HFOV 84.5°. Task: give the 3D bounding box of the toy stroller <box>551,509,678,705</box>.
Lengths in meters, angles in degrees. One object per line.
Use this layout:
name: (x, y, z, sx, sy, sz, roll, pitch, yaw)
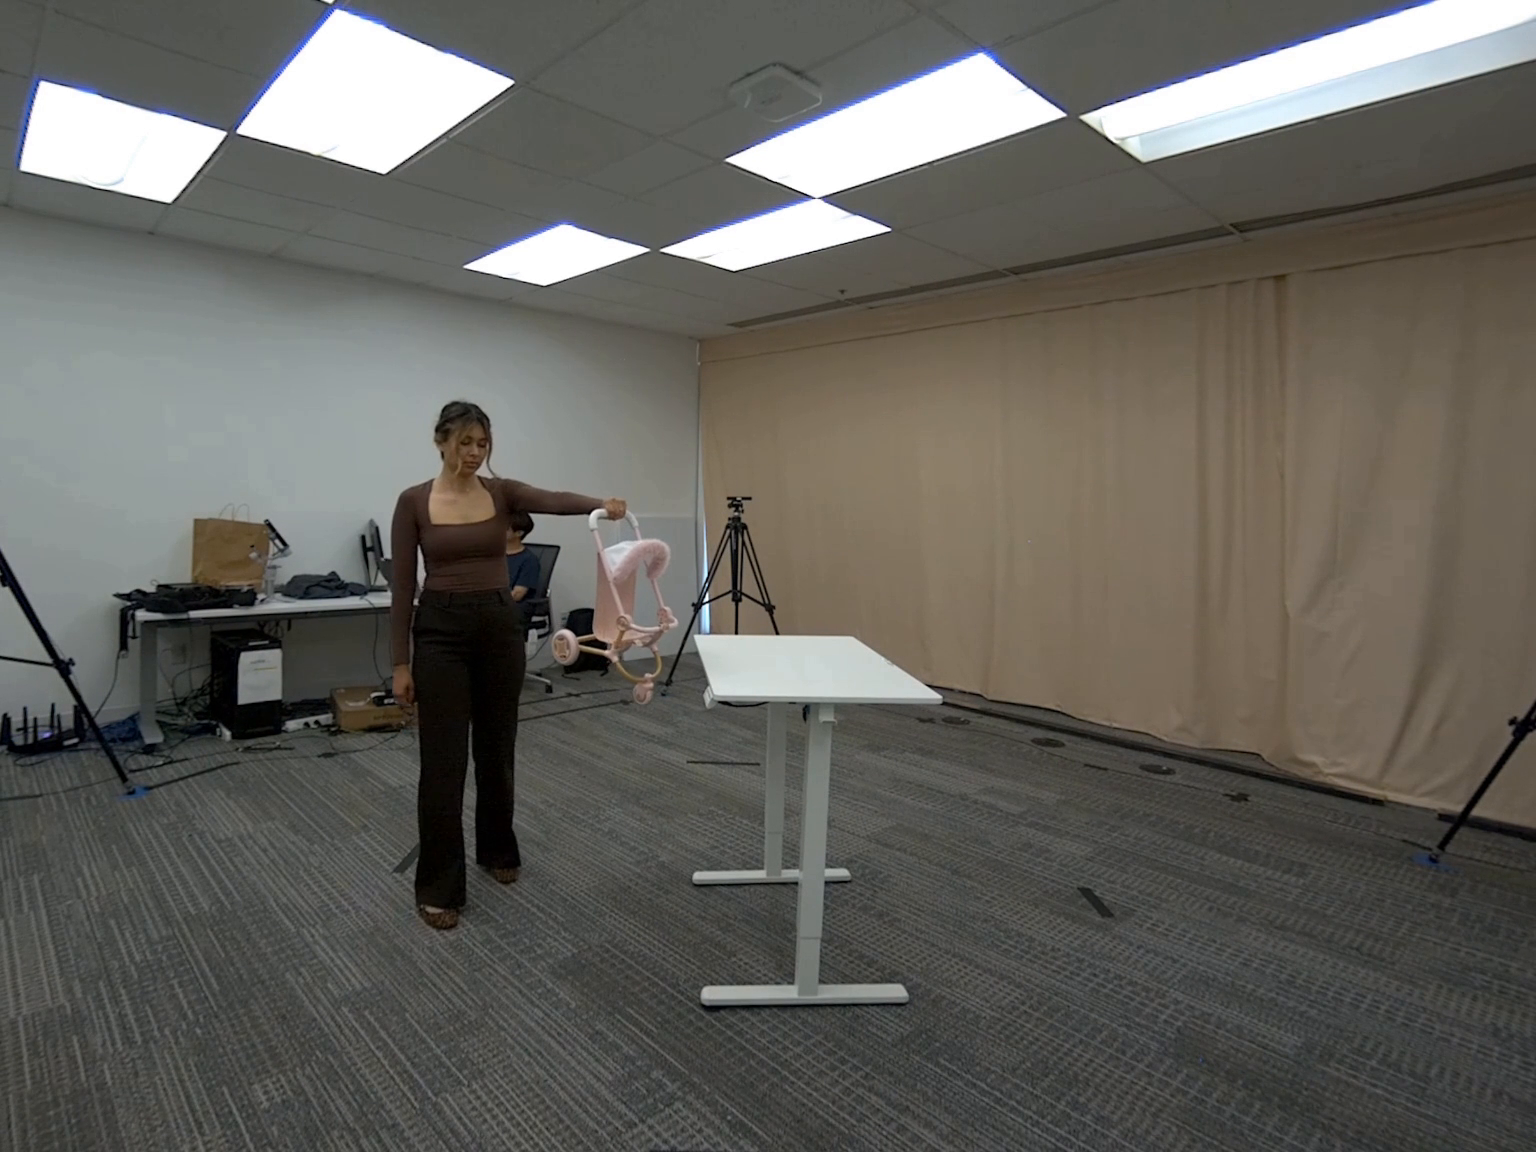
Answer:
toy stroller: (-0.440, 0.101, 2.589, 0.351, 0.531, 0.275, 22, 15, 35)
